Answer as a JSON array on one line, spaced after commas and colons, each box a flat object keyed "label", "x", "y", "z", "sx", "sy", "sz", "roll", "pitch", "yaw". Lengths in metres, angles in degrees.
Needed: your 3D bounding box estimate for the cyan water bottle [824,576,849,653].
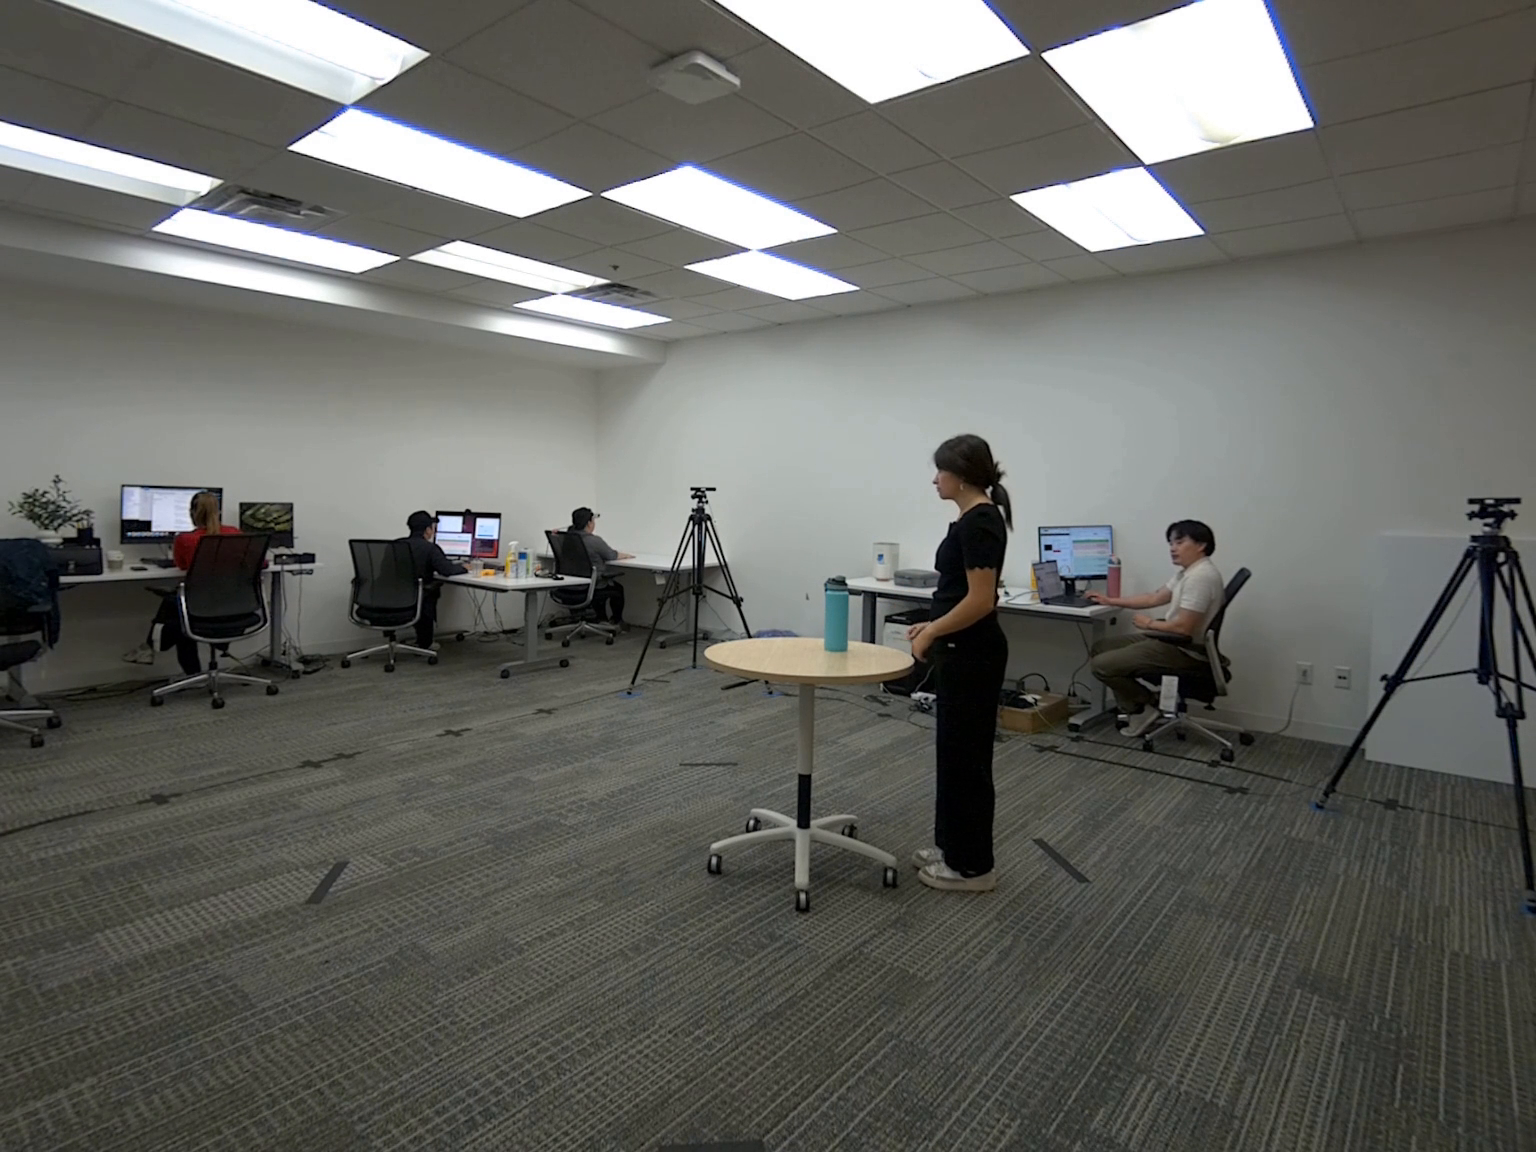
[{"label": "cyan water bottle", "x": 0.253, "y": 0.137, "z": 3.246, "sx": 0.092, "sy": 0.282, "sz": 0.093, "roll": 1, "pitch": 4, "yaw": -2}]
